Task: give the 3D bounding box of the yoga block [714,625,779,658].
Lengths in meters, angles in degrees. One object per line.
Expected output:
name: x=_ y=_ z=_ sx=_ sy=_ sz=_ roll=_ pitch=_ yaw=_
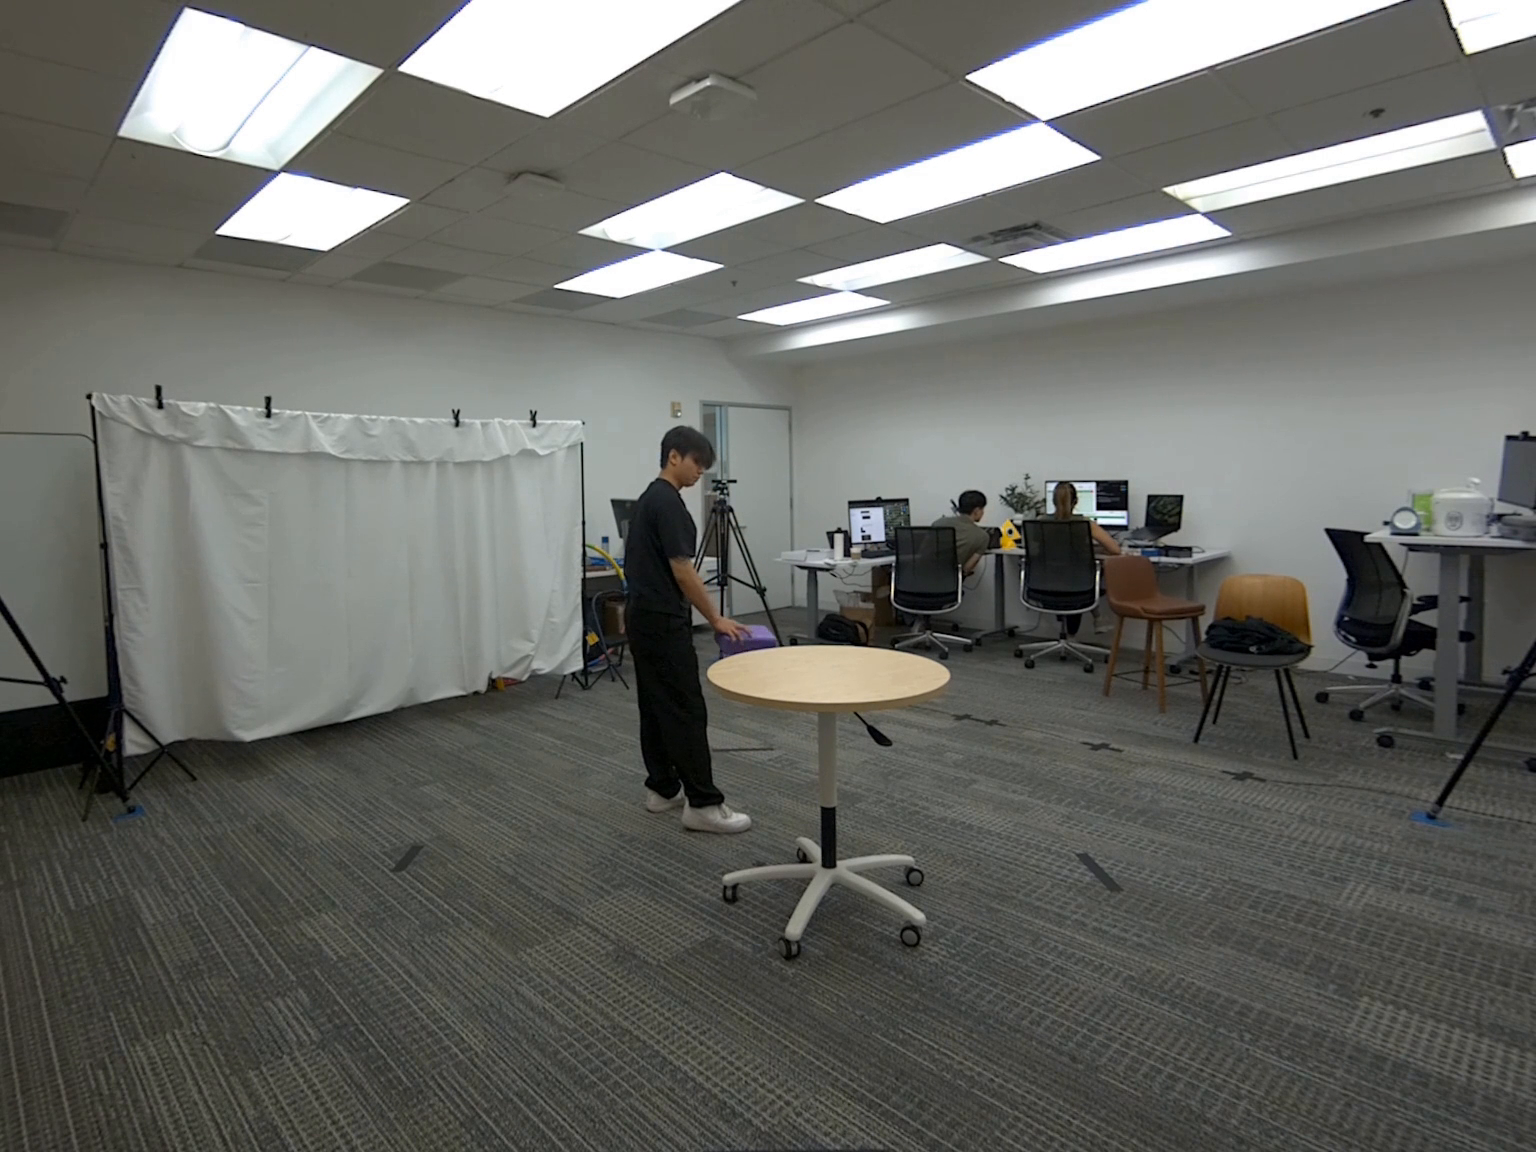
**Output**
yoga block: x=-0.098 y=0.265 z=3.553 sx=0.225 sy=0.075 sz=0.153 roll=2 pitch=18 yaw=-19
